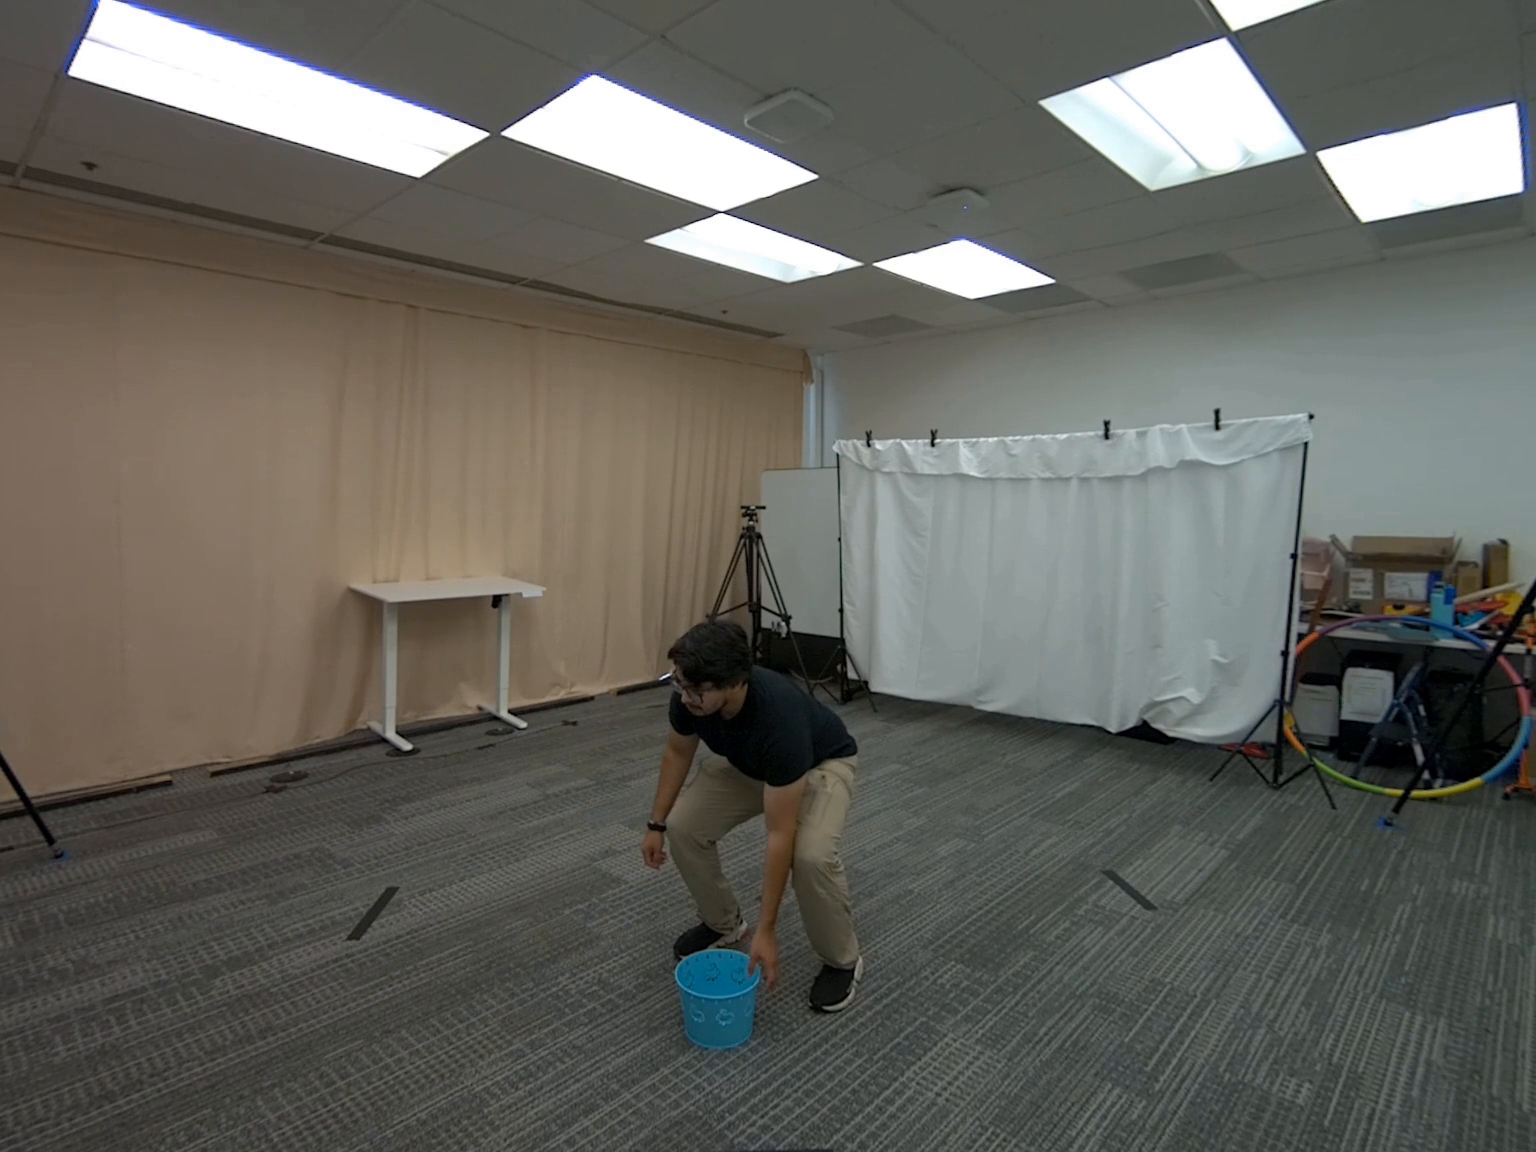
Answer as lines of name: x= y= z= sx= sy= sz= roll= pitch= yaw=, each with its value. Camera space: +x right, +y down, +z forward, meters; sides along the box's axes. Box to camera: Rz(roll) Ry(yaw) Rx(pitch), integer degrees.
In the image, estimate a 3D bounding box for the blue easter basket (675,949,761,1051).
blue easter basket: x=-0.121 y=1.128 z=2.246 sx=0.243 sy=0.155 sz=0.244 roll=-1 pitch=3 yaw=-2
